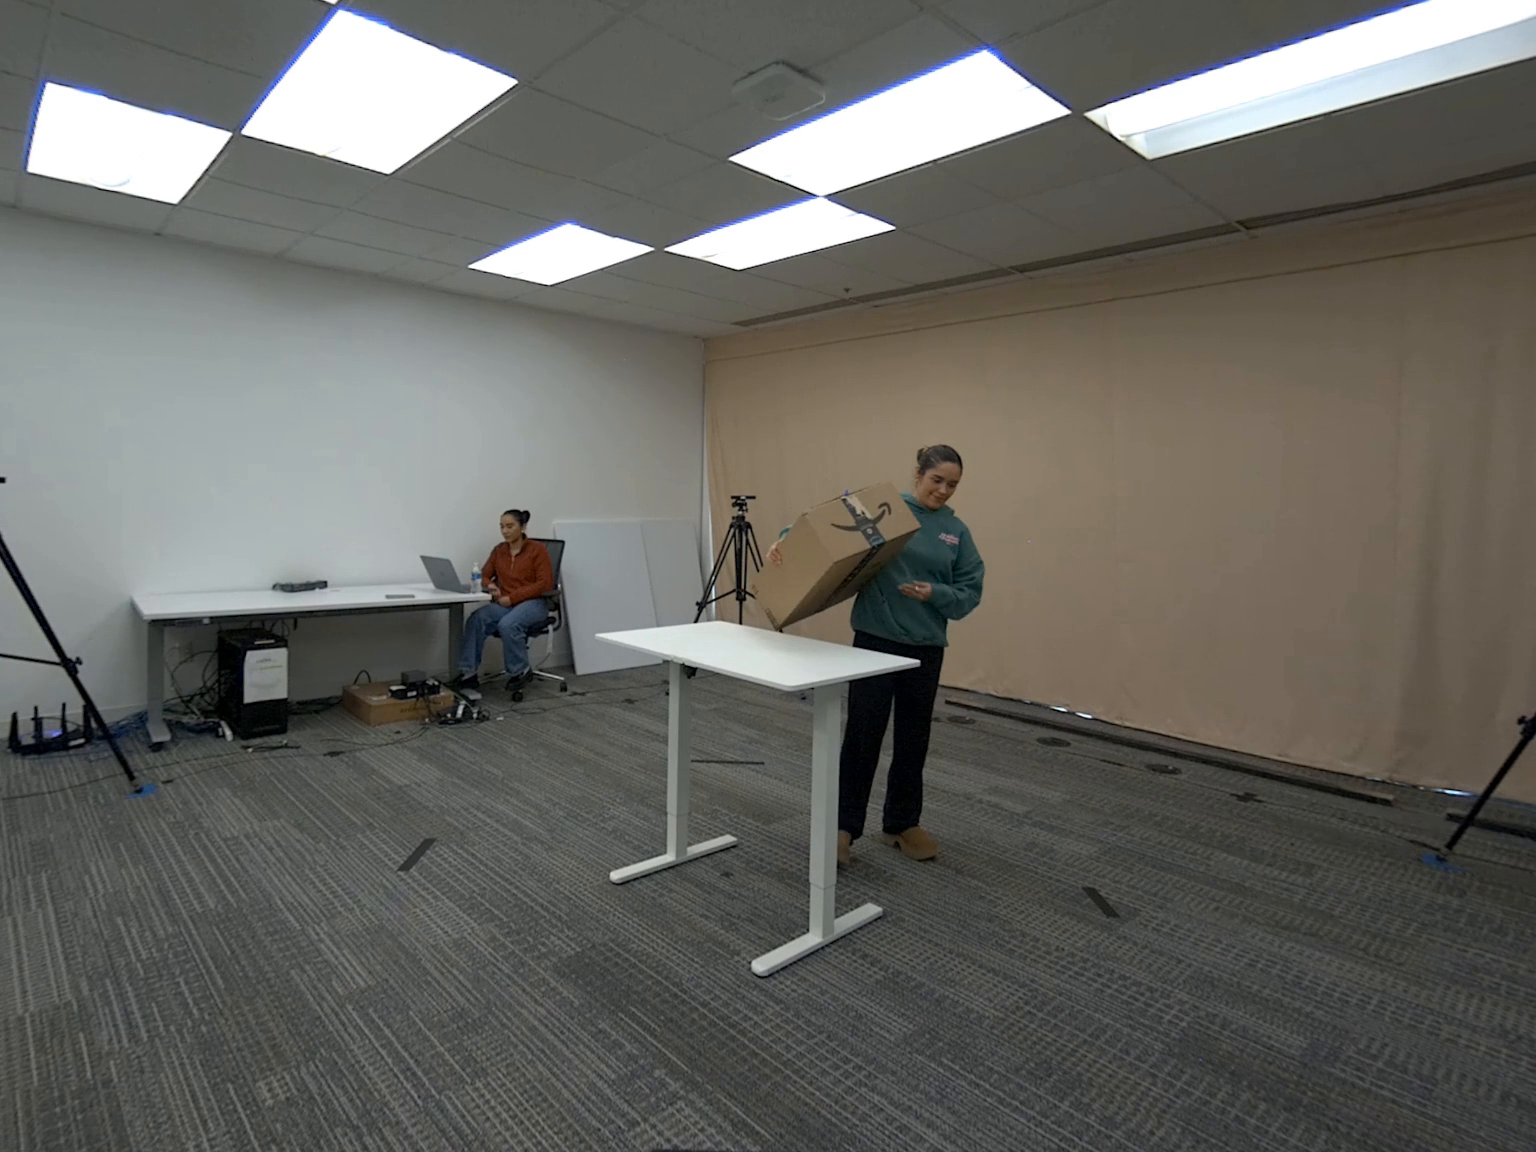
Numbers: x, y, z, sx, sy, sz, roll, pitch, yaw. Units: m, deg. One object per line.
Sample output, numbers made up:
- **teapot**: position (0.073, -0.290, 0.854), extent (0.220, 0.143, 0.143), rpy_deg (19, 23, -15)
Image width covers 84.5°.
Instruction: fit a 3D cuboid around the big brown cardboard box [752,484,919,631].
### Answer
- **big brown cardboard box**: position (0.229, -0.067, 3.173), extent (0.412, 0.237, 0.586), rpy_deg (-21, -18, -31)
